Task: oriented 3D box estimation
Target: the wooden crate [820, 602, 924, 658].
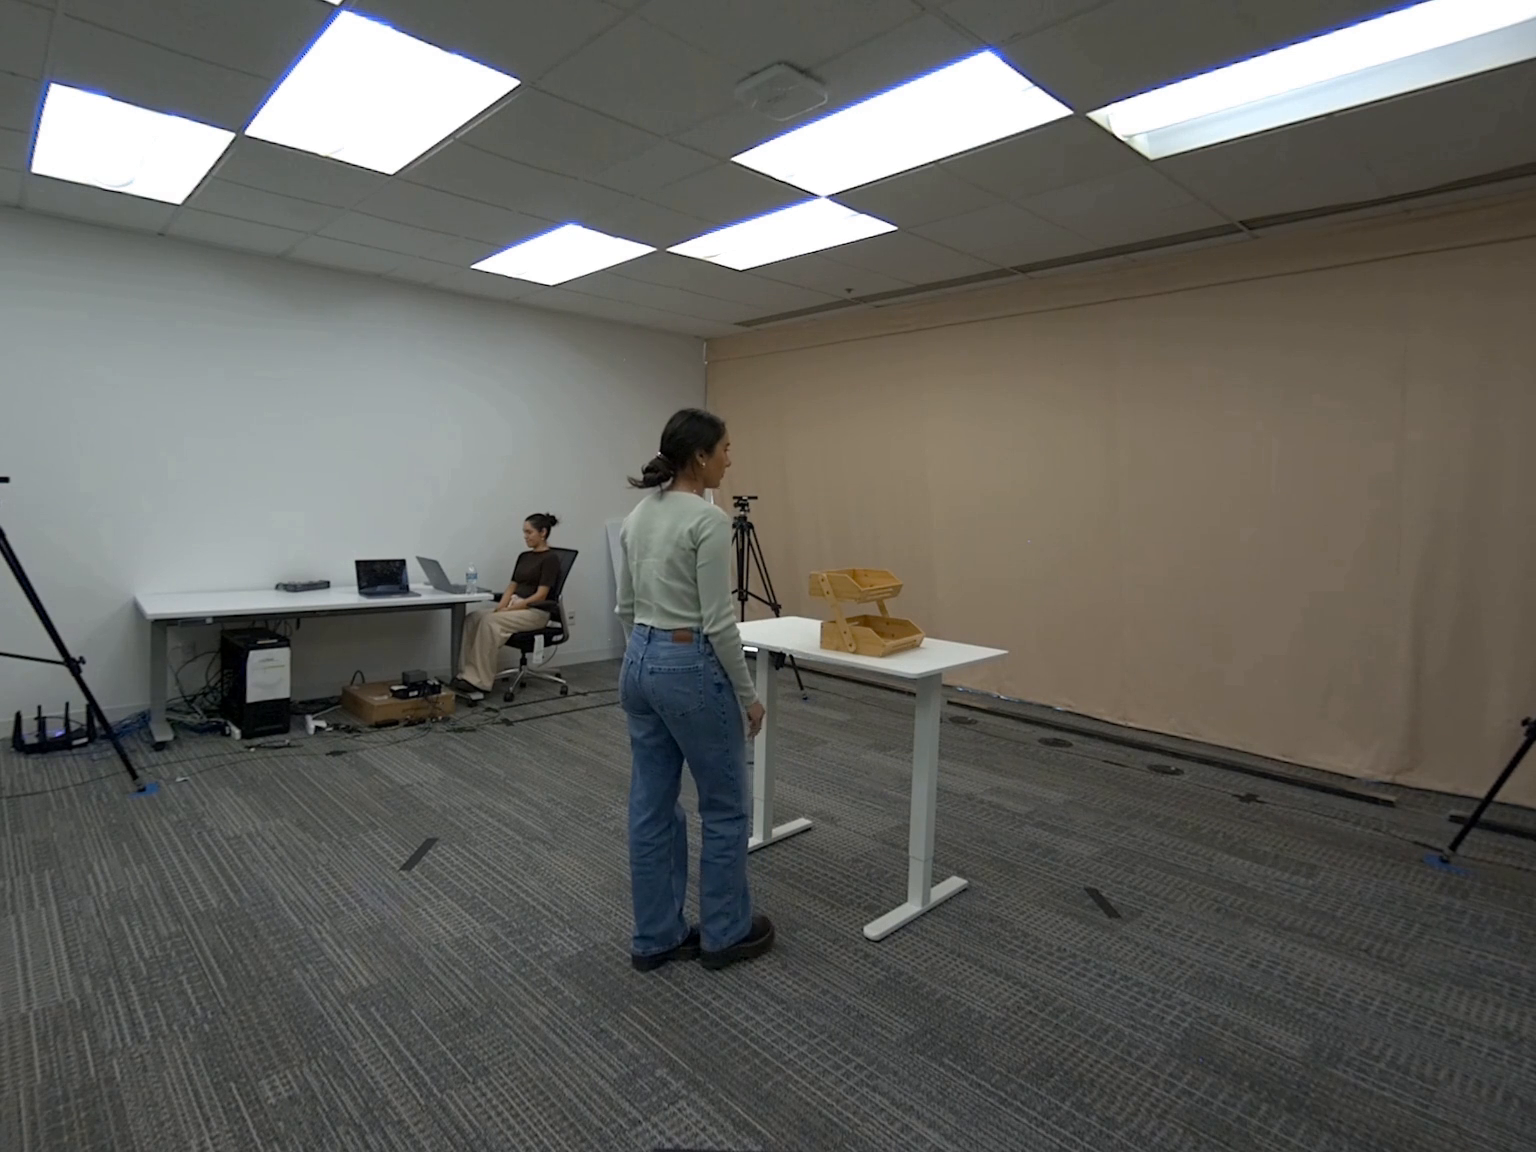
[{"bbox_3d":[0.349,0.118,2.933,0.309,0.273,0.317,4,5,36],"label":"wooden crate"}]
